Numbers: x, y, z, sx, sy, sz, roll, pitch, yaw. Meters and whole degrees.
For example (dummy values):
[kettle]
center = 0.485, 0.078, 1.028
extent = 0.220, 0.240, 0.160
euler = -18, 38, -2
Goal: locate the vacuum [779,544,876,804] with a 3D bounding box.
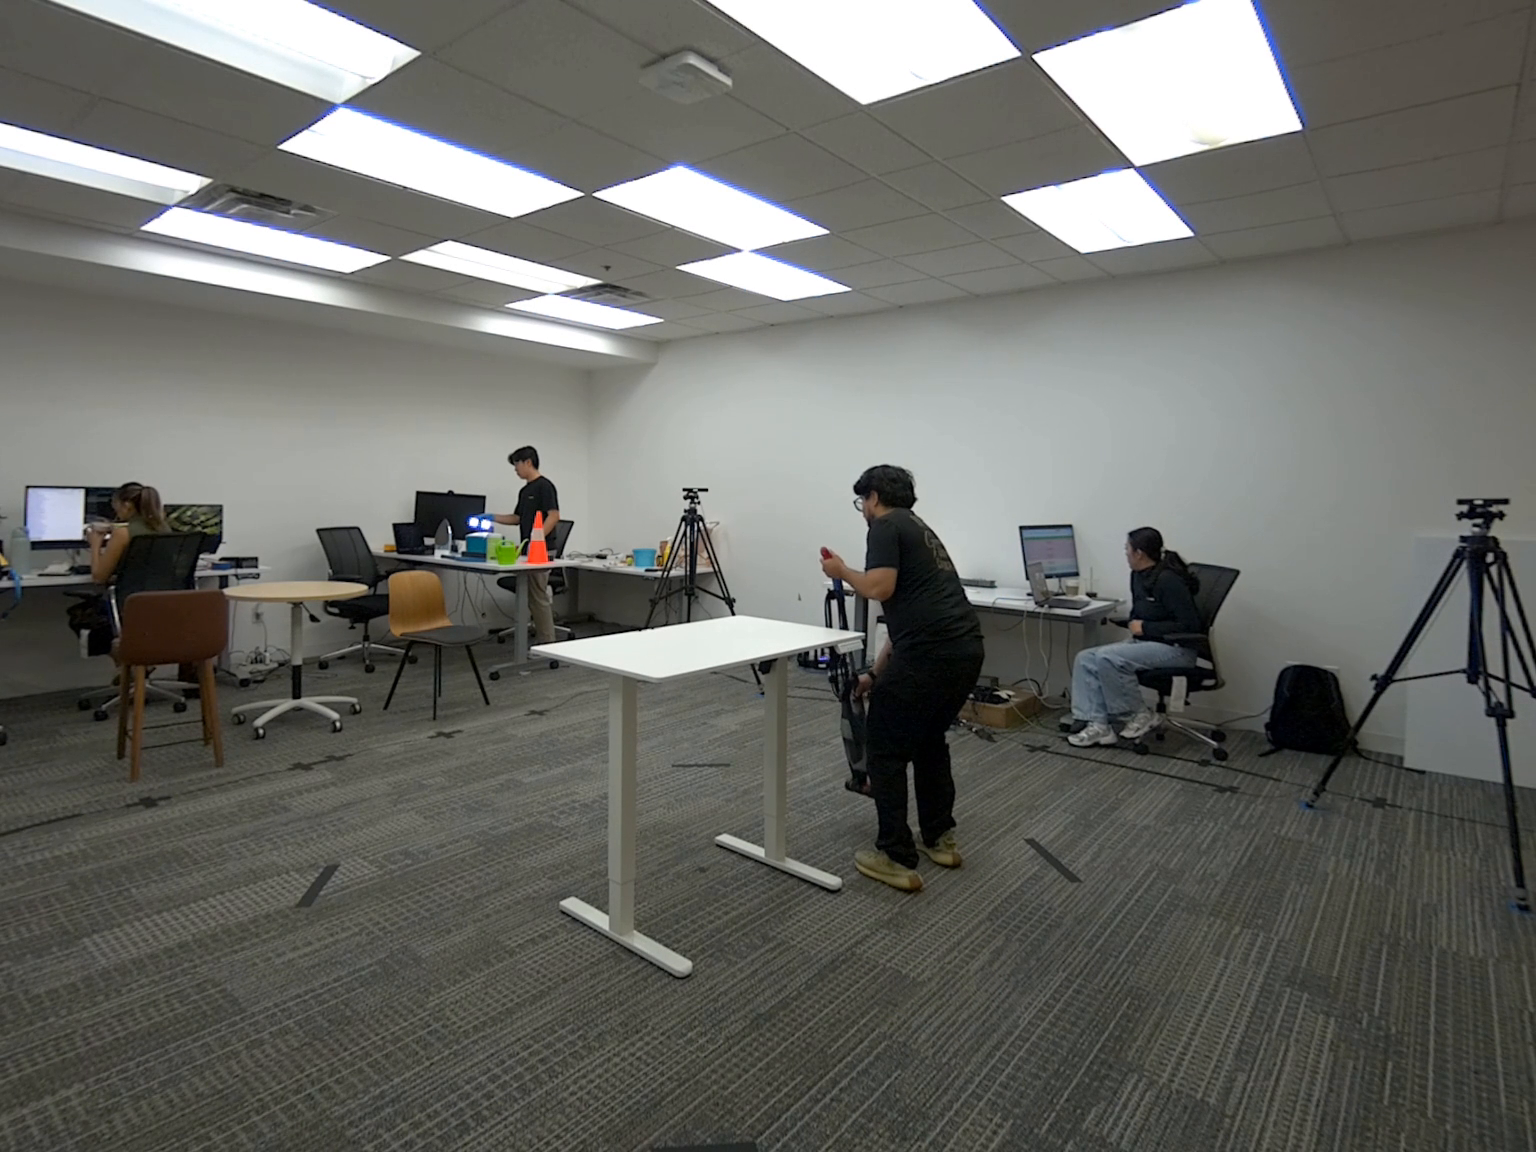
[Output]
[vacuum]
center = 0.292, 0.393, 3.381
extent = 0.261, 1.032, 0.141
euler = 1, 20, 44
